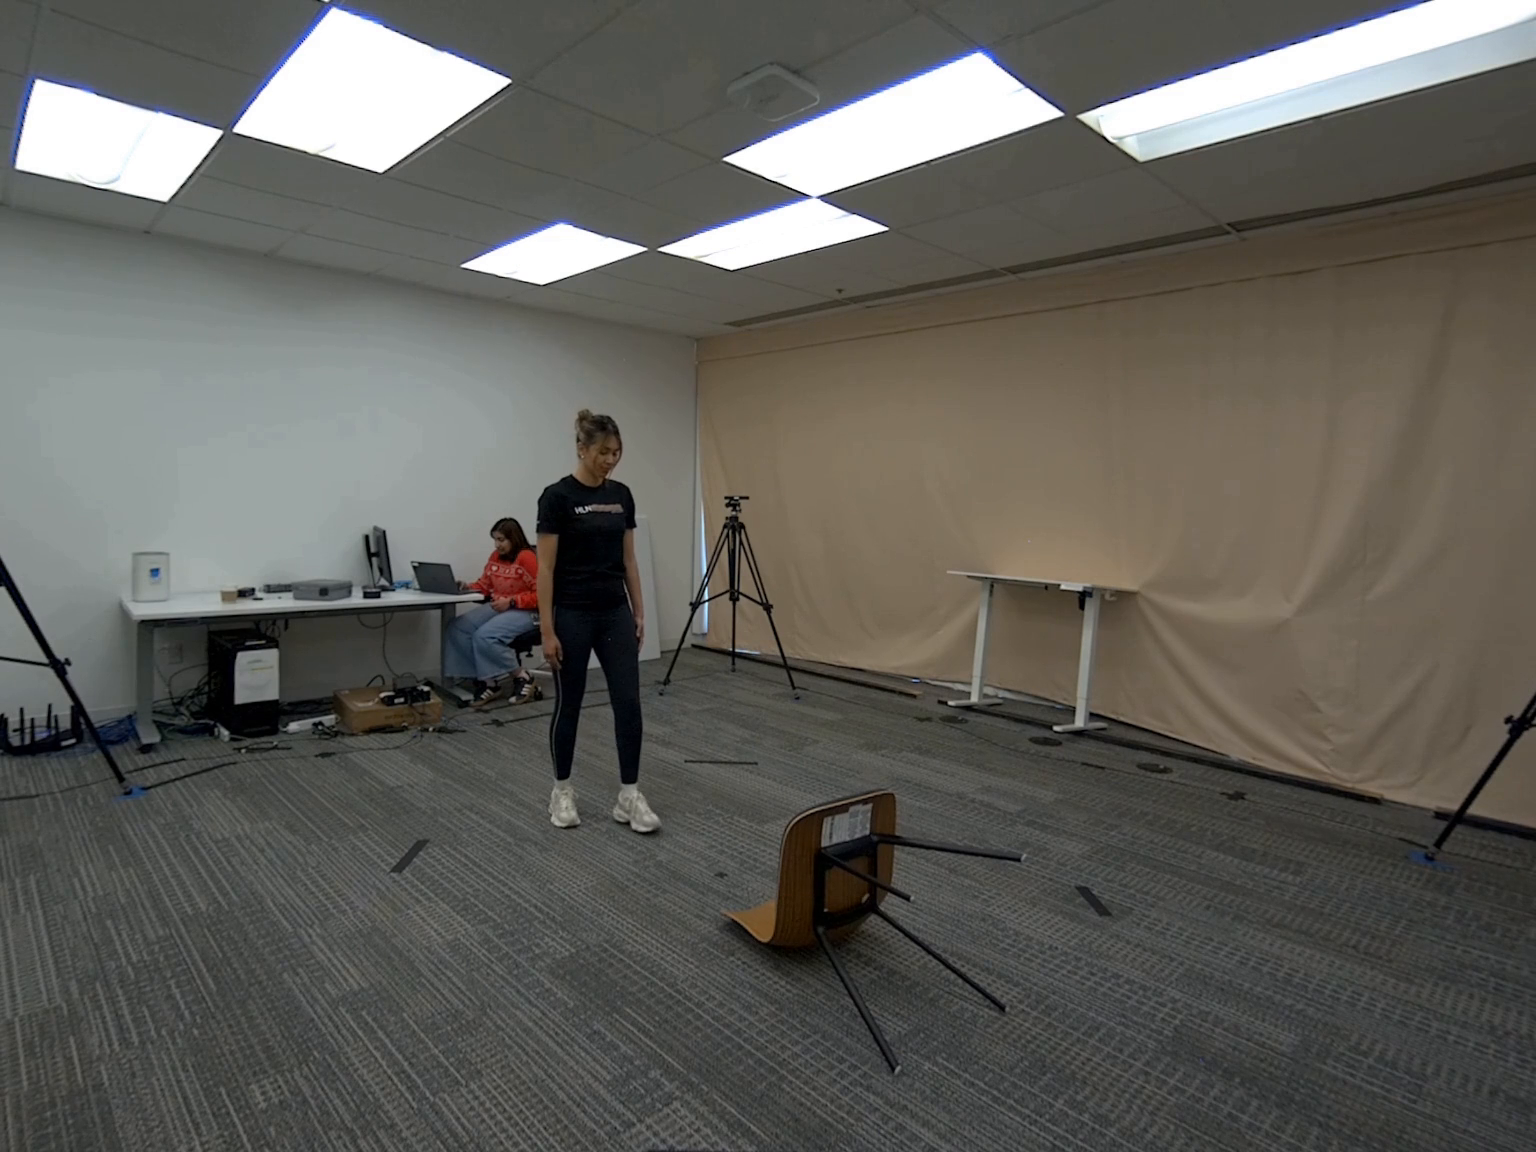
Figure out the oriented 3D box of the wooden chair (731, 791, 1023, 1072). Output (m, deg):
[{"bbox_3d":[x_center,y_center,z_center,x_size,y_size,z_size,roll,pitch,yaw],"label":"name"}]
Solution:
[{"bbox_3d":[0.234,0.909,2.501,0.467,0.522,0.899,-2,5,-38],"label":"wooden chair"}]
